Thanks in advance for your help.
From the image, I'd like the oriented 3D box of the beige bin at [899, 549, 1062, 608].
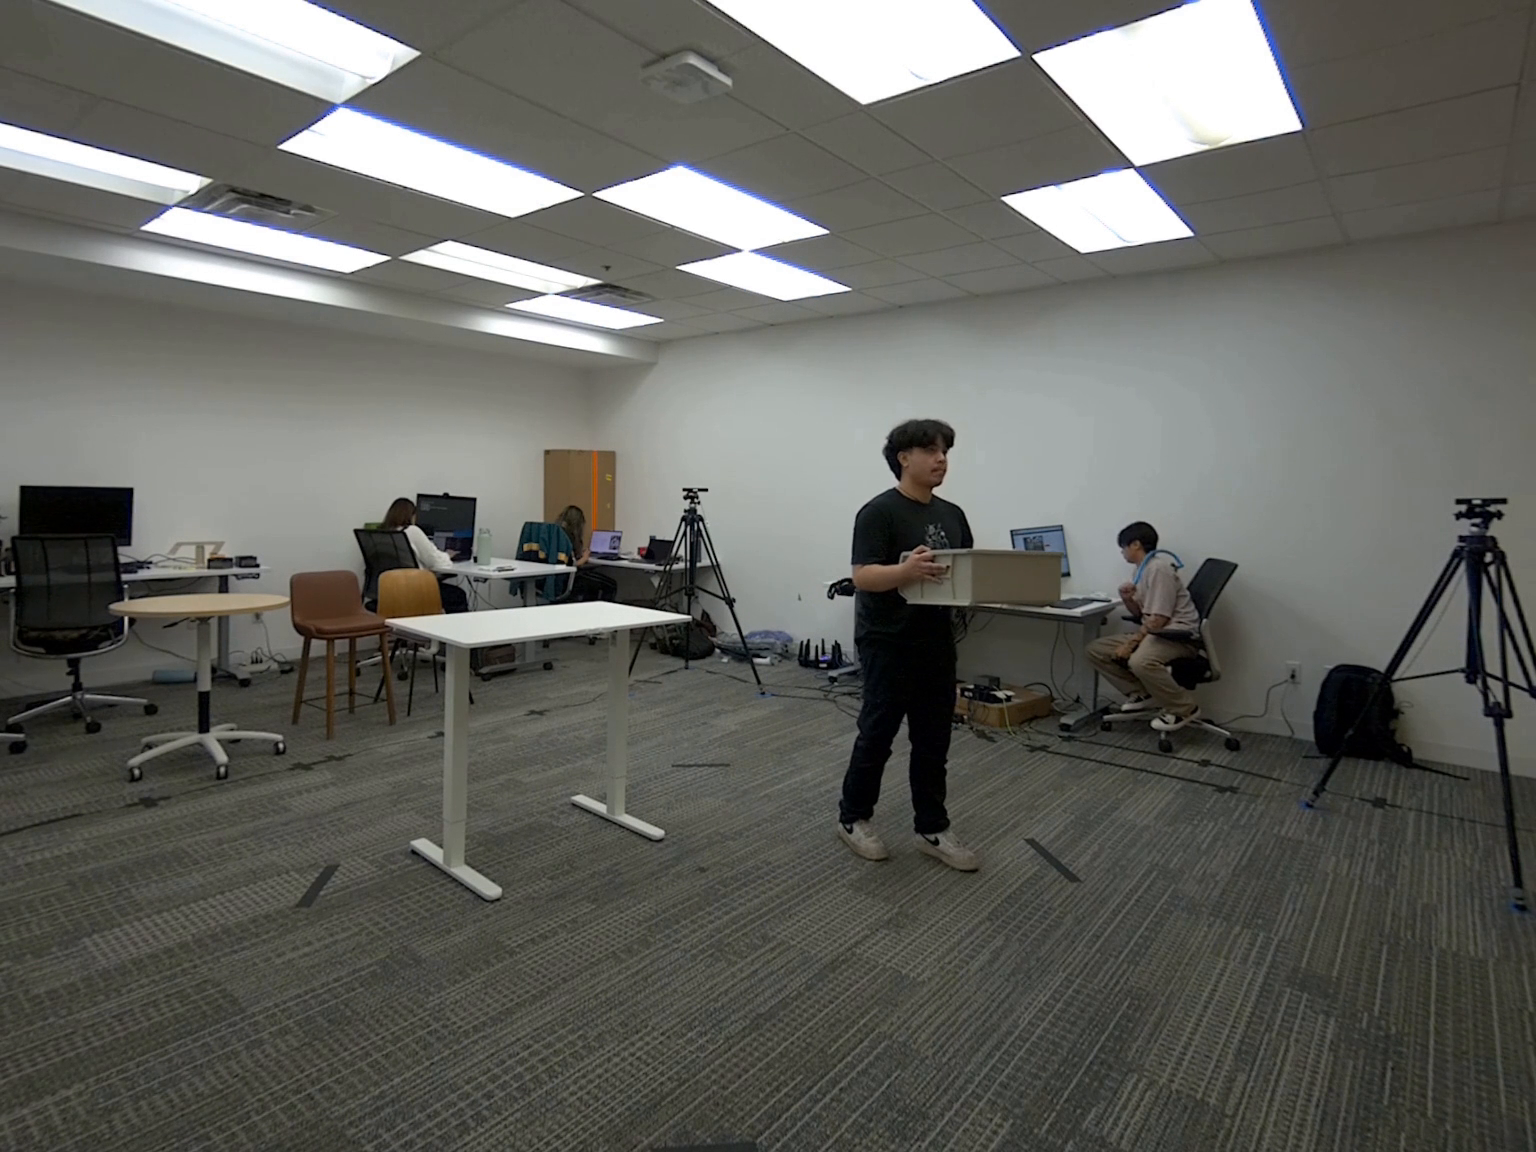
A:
[{"bbox_3d":[0.725,0.005,2.930,0.412,0.189,0.387,1,0,-27],"label":"beige bin"}]
